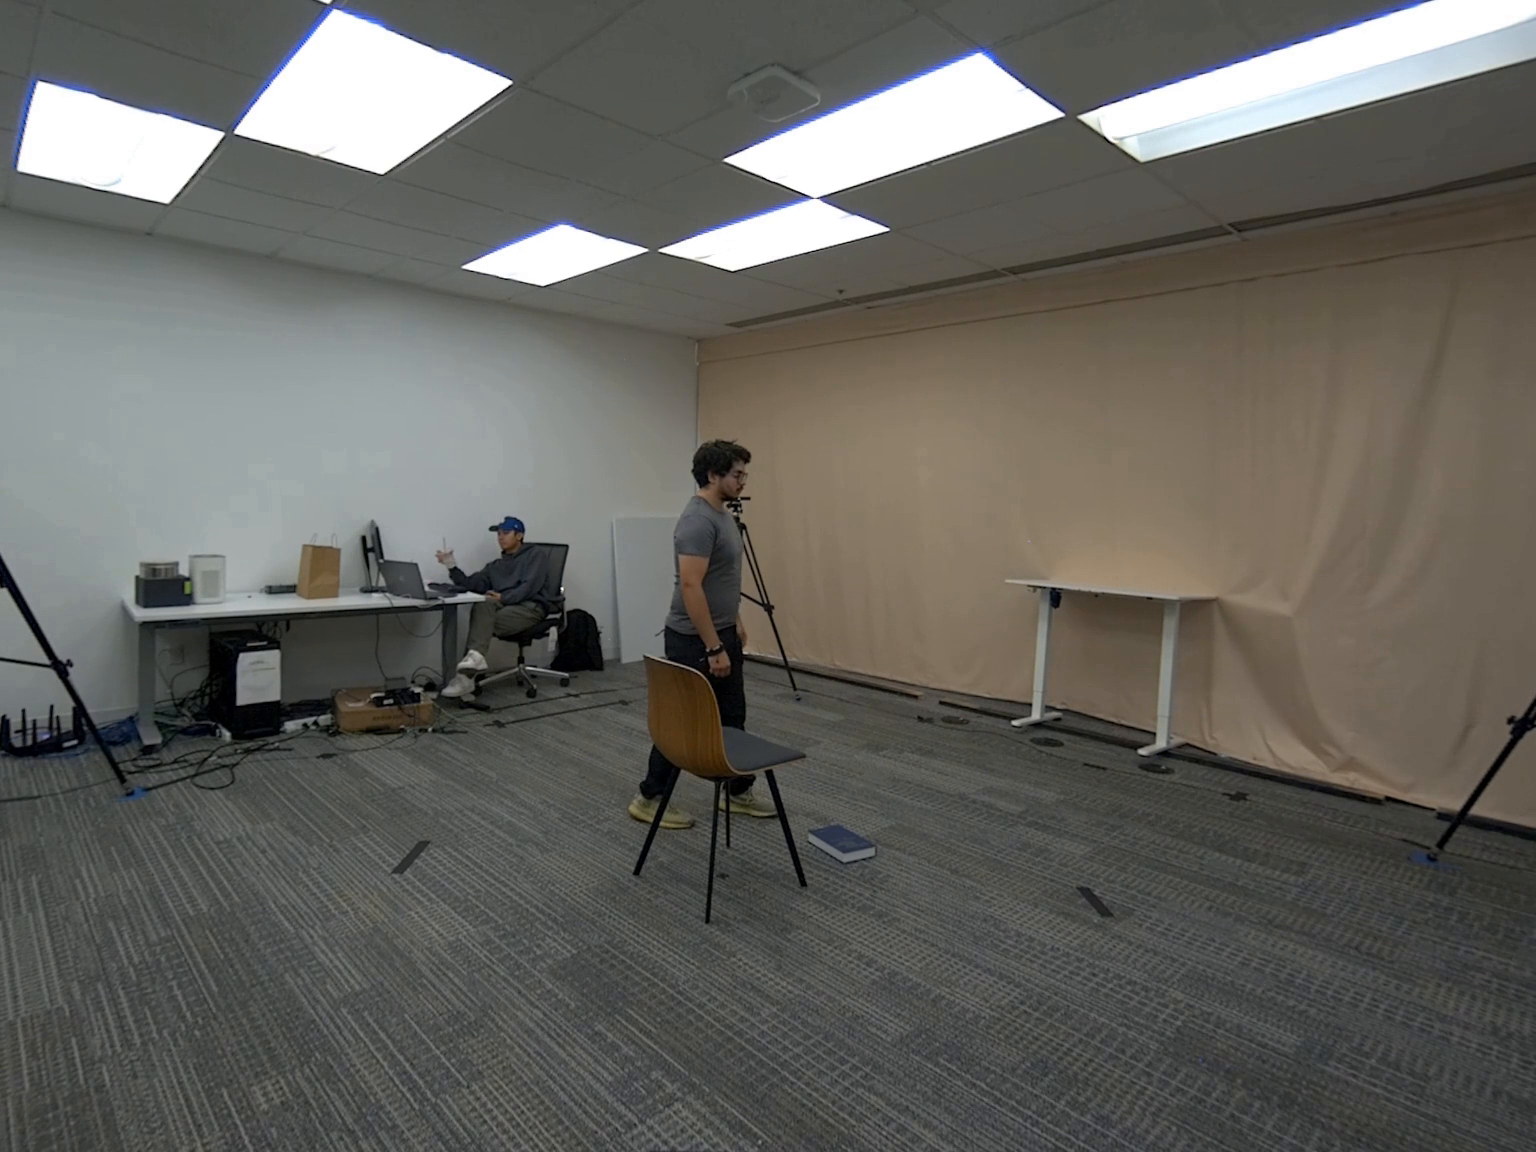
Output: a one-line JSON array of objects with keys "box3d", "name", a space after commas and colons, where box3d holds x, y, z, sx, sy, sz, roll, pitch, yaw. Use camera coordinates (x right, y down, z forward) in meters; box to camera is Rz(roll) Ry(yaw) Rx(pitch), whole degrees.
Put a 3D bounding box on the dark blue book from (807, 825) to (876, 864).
[{"box3d": [0.282, 1.067, 3.370, 0.160, 0.045, 0.251, -1, 6, -31], "name": "dark blue book"}]
